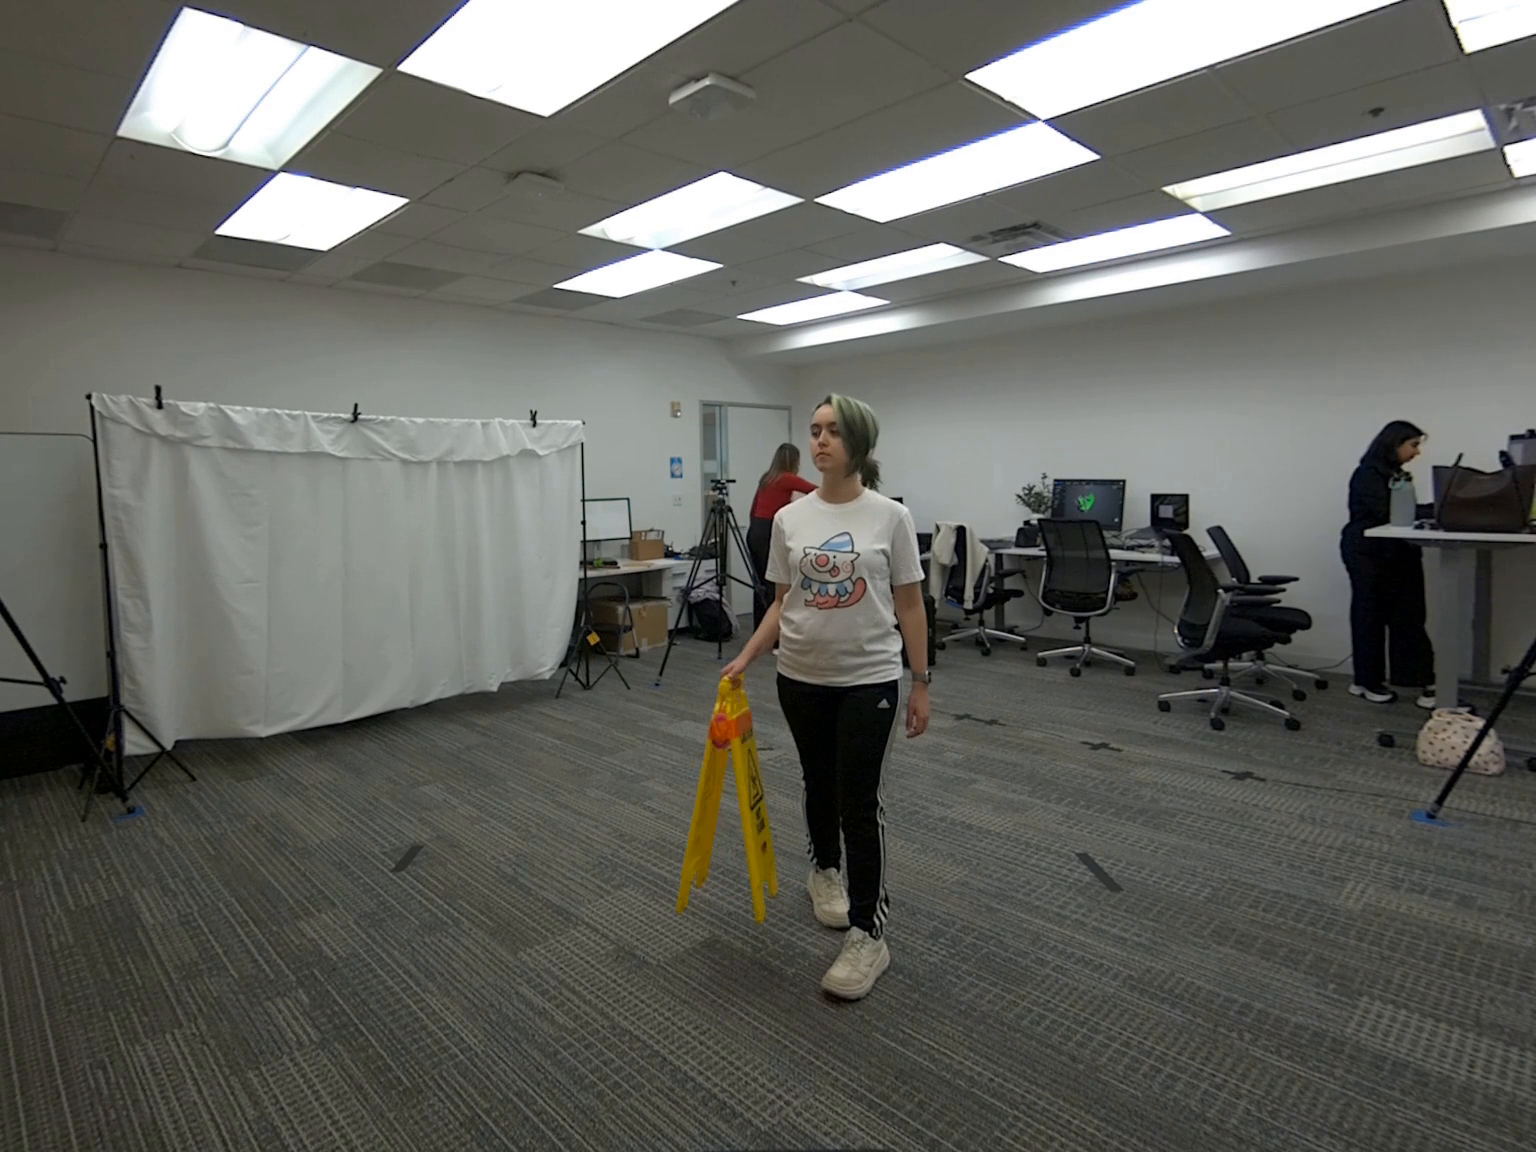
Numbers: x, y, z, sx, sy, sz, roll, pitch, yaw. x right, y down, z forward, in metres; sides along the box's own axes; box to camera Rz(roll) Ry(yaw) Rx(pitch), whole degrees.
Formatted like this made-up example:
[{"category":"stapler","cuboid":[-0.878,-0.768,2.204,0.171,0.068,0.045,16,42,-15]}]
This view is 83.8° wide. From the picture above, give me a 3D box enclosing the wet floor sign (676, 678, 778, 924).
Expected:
[{"category":"wet floor sign","cuboid":[-0.107,0.608,2.471,0.293,0.649,0.277,-2,-5,13]}]
